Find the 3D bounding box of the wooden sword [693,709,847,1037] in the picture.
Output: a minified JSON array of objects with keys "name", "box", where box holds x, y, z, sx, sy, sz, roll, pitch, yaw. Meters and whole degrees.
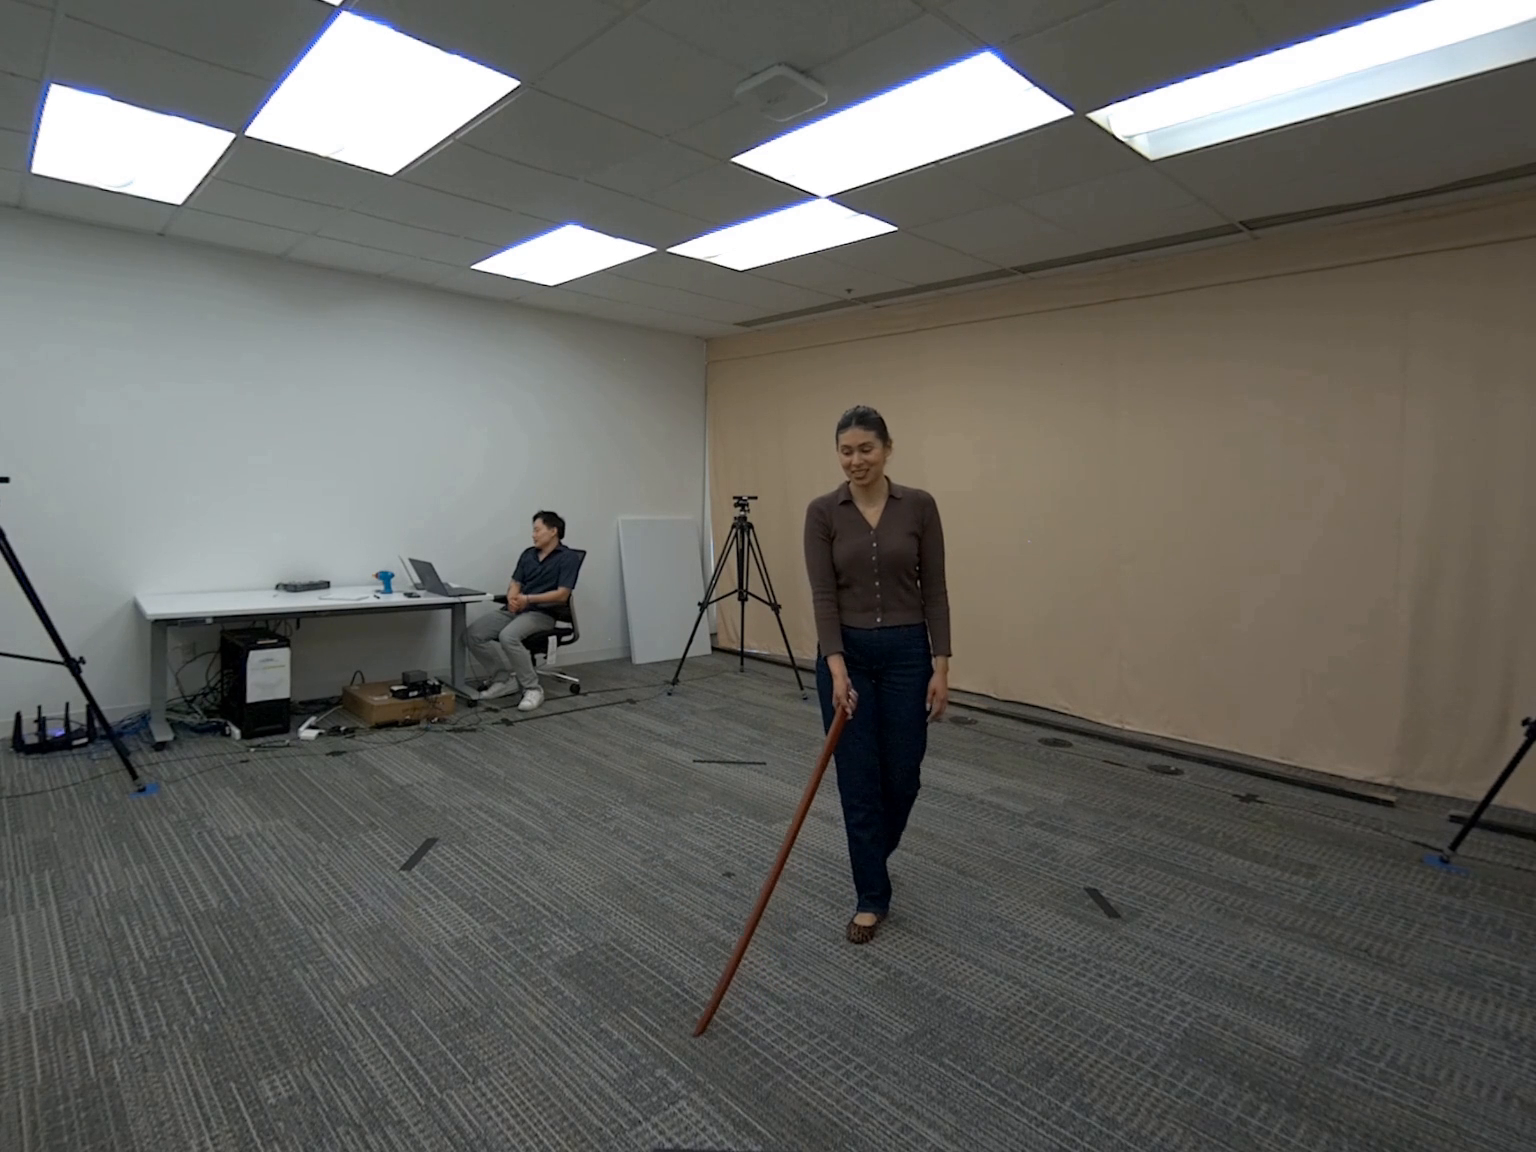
[{"name":"wooden sword","box":[0.039,0.776,2.374,0.052,1.031,0.023,15,-27,24]}]
